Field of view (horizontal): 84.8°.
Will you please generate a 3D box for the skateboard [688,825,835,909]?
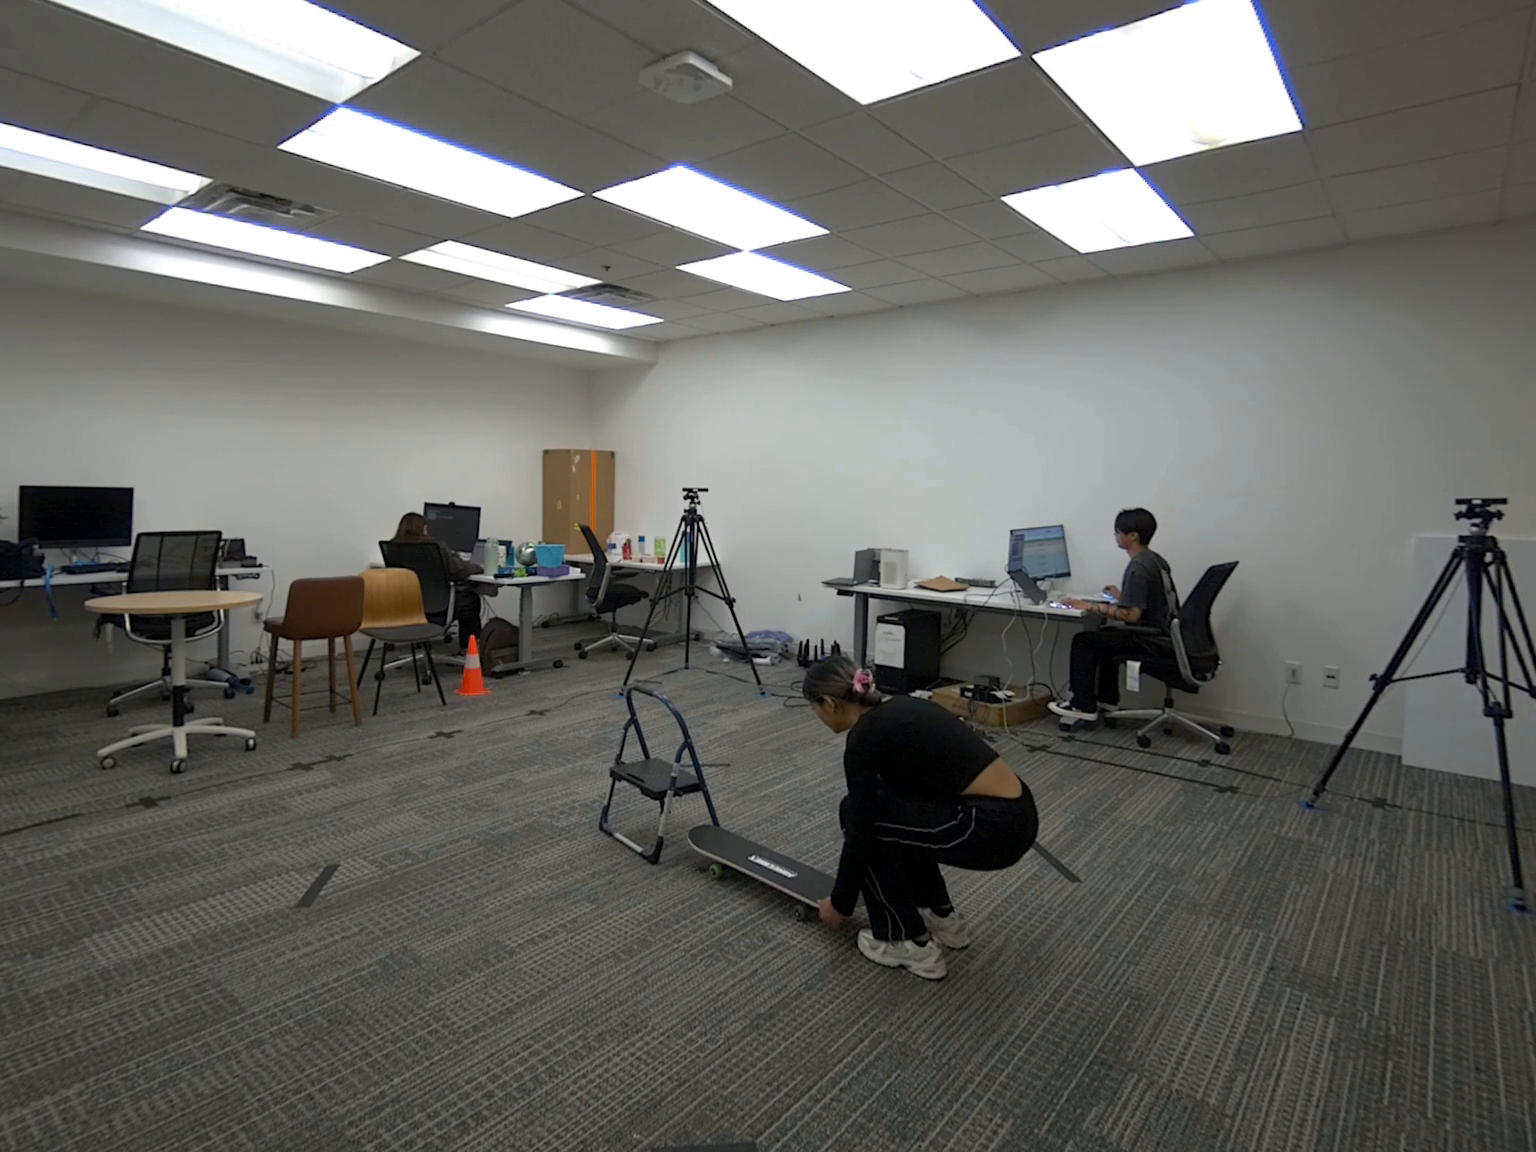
[{"bbox_3d":[0.008,1.035,2.944,0.813,0.110,0.188,7,8,44],"label":"skateboard"}]
